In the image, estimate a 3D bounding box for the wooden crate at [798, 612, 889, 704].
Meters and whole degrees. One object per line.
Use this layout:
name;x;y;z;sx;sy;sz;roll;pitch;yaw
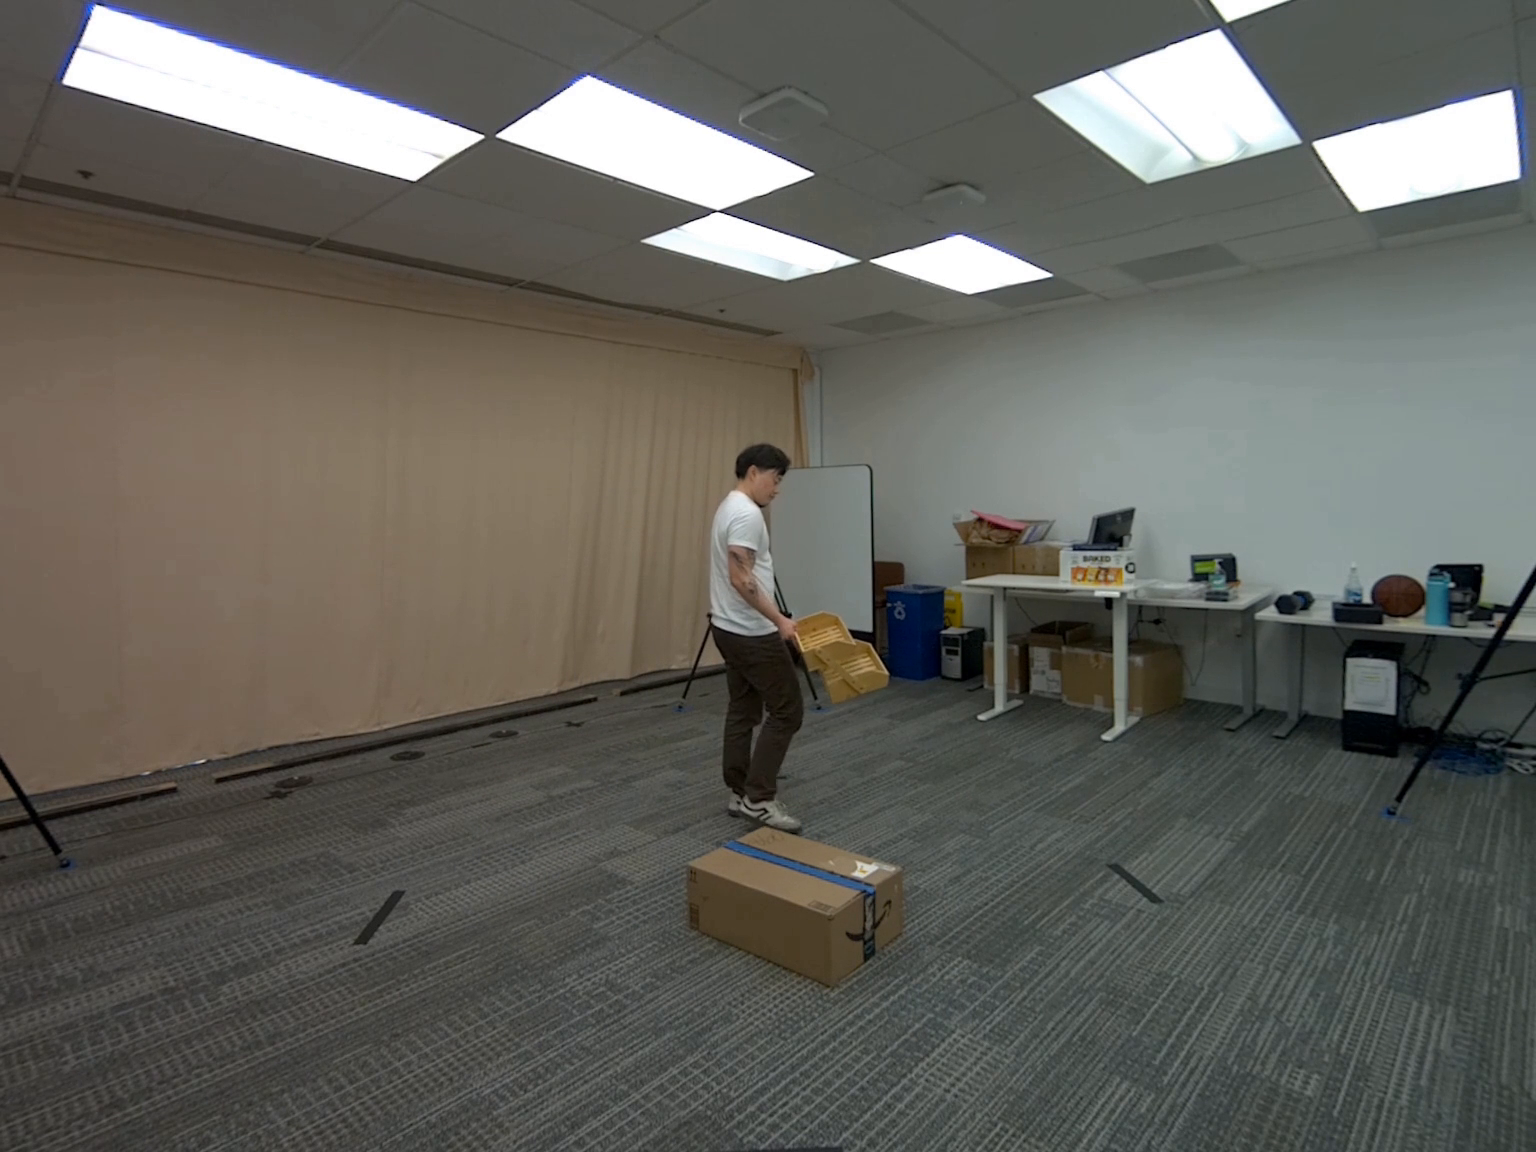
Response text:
wooden crate;0.311;0.312;3.456;0.302;0.269;0.329;-19;18;1
